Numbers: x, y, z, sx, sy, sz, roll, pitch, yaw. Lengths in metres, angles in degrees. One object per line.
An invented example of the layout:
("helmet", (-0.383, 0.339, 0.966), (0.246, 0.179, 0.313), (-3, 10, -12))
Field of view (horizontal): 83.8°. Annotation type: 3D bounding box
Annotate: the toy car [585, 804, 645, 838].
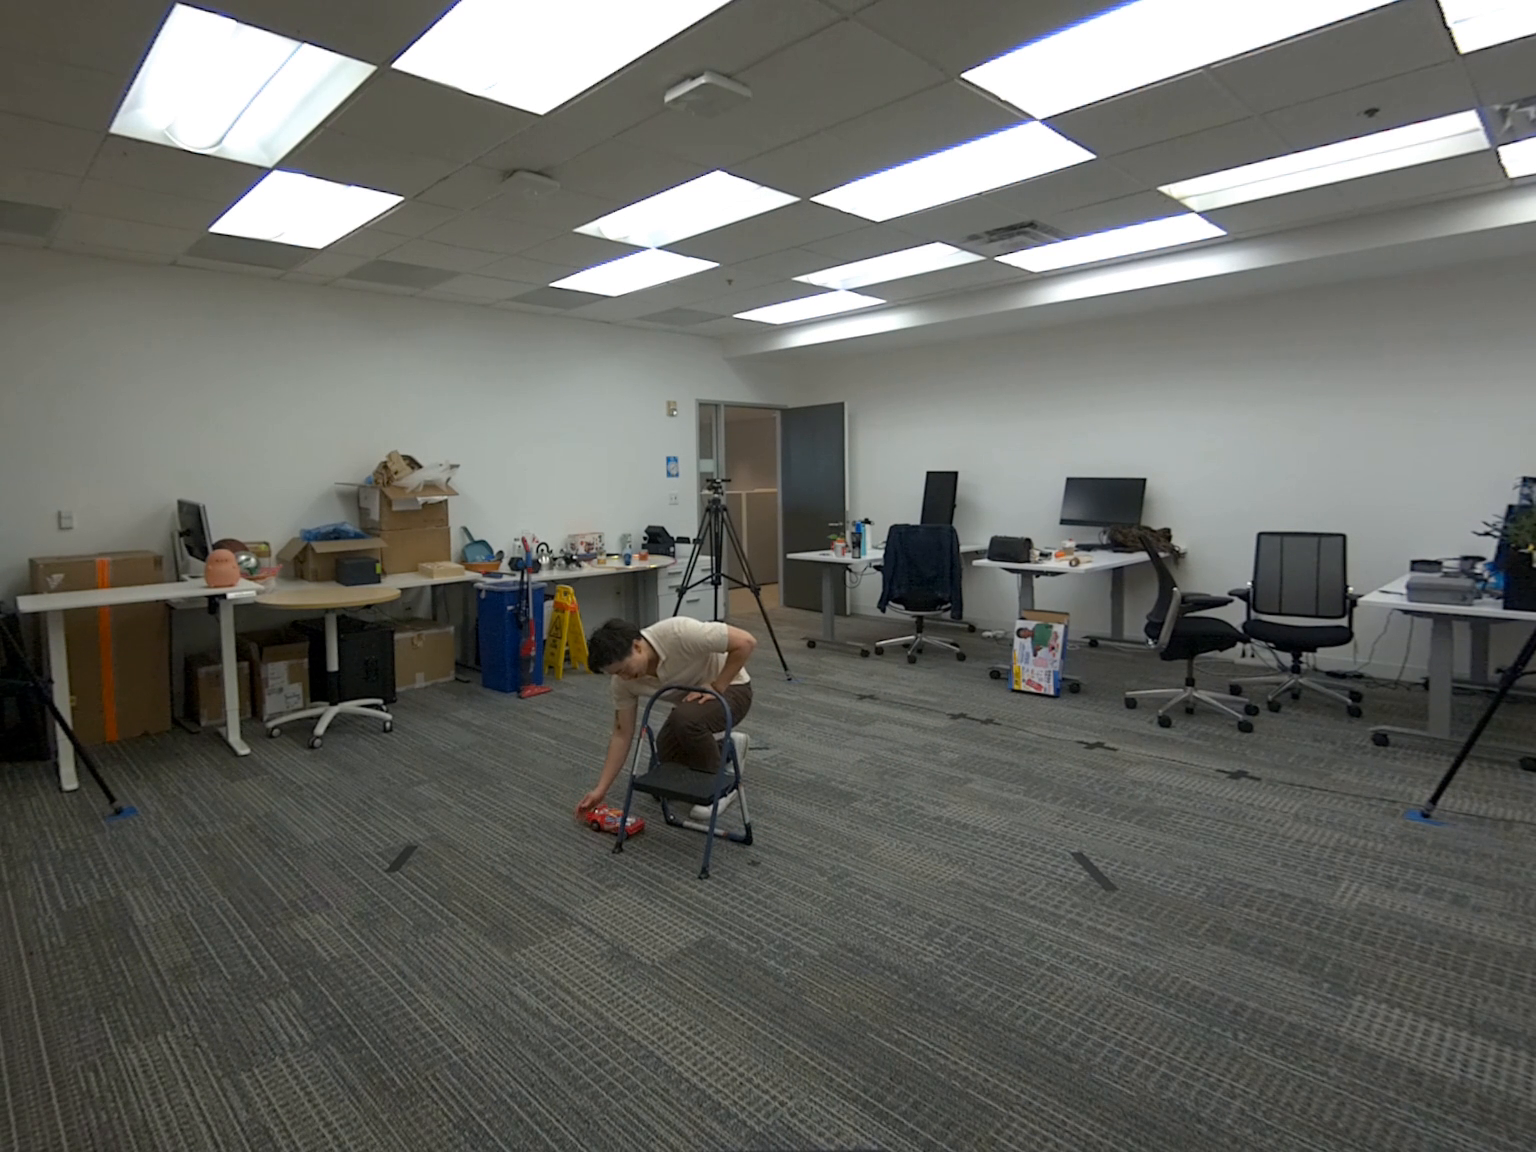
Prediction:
("toy car", (-0.622, 0.985, 3.430), (0.263, 0.082, 0.127), (15, 14, 32))
